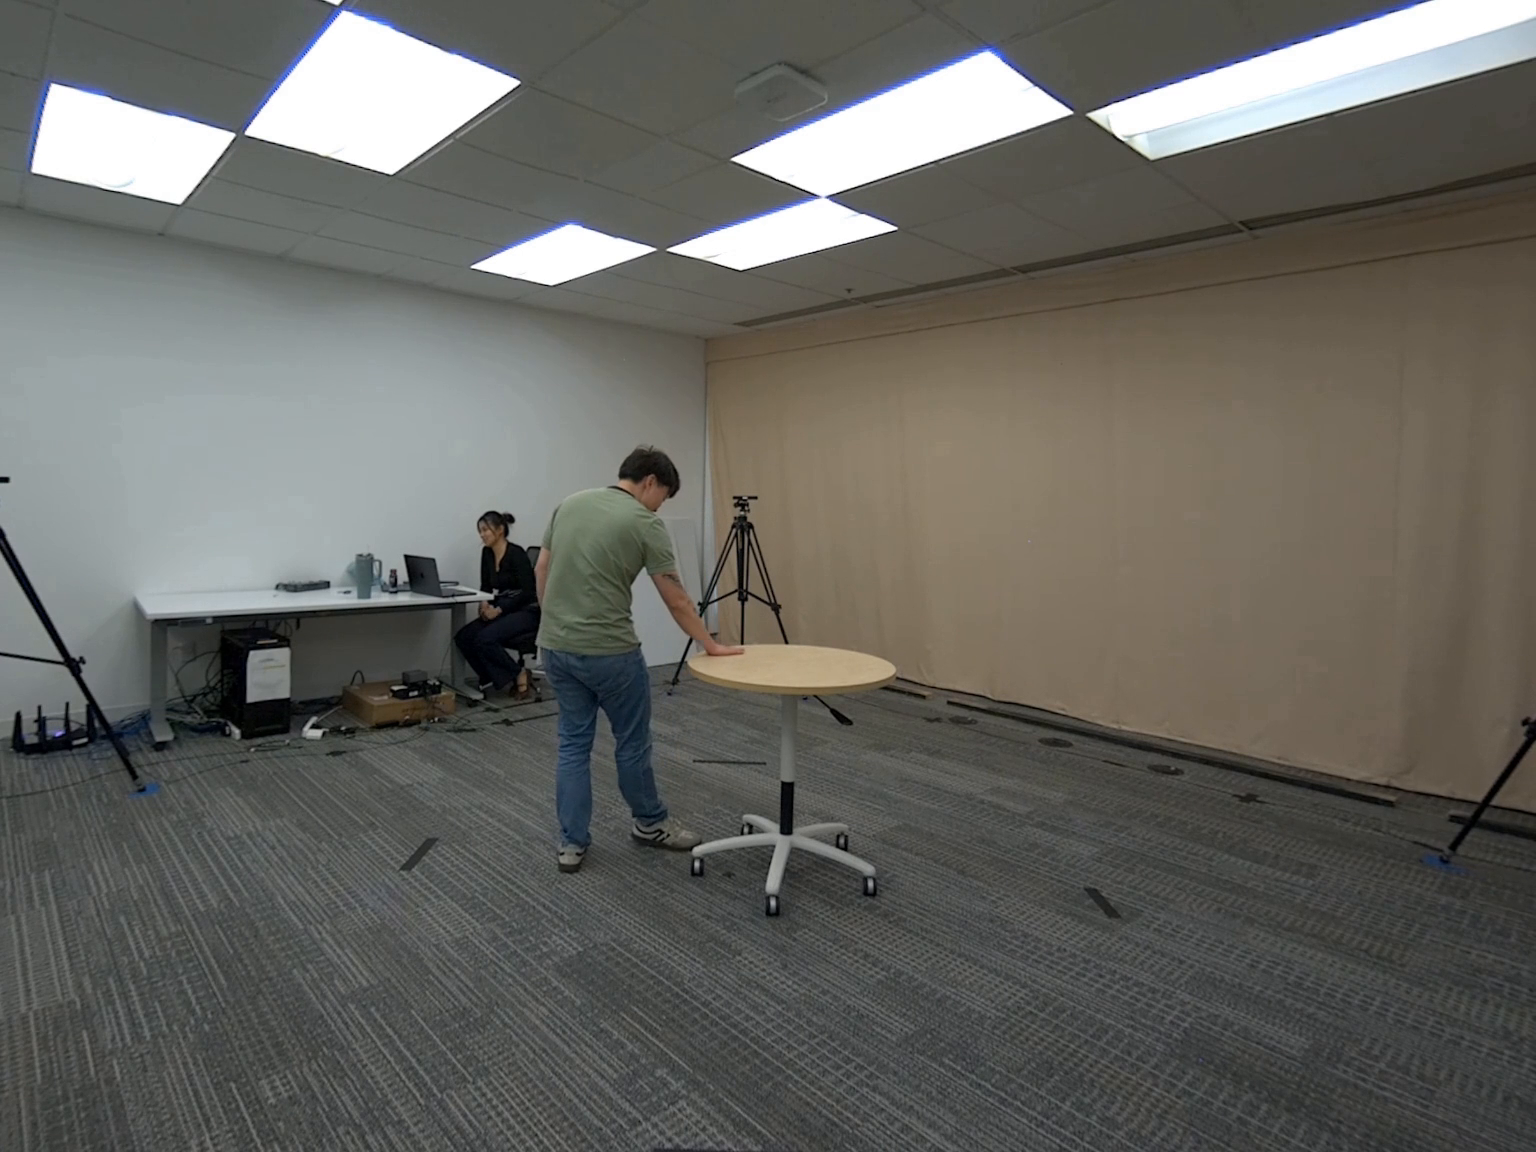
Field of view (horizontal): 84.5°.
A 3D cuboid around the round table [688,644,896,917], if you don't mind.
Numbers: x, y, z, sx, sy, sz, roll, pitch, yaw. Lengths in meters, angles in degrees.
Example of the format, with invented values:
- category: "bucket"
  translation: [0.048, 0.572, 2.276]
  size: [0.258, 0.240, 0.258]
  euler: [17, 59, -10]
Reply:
- category: "round table"
  translation: [0.068, 0.717, 3.134]
  size: [0.763, 0.792, 0.766]
  euler: [1, 4, -1]
